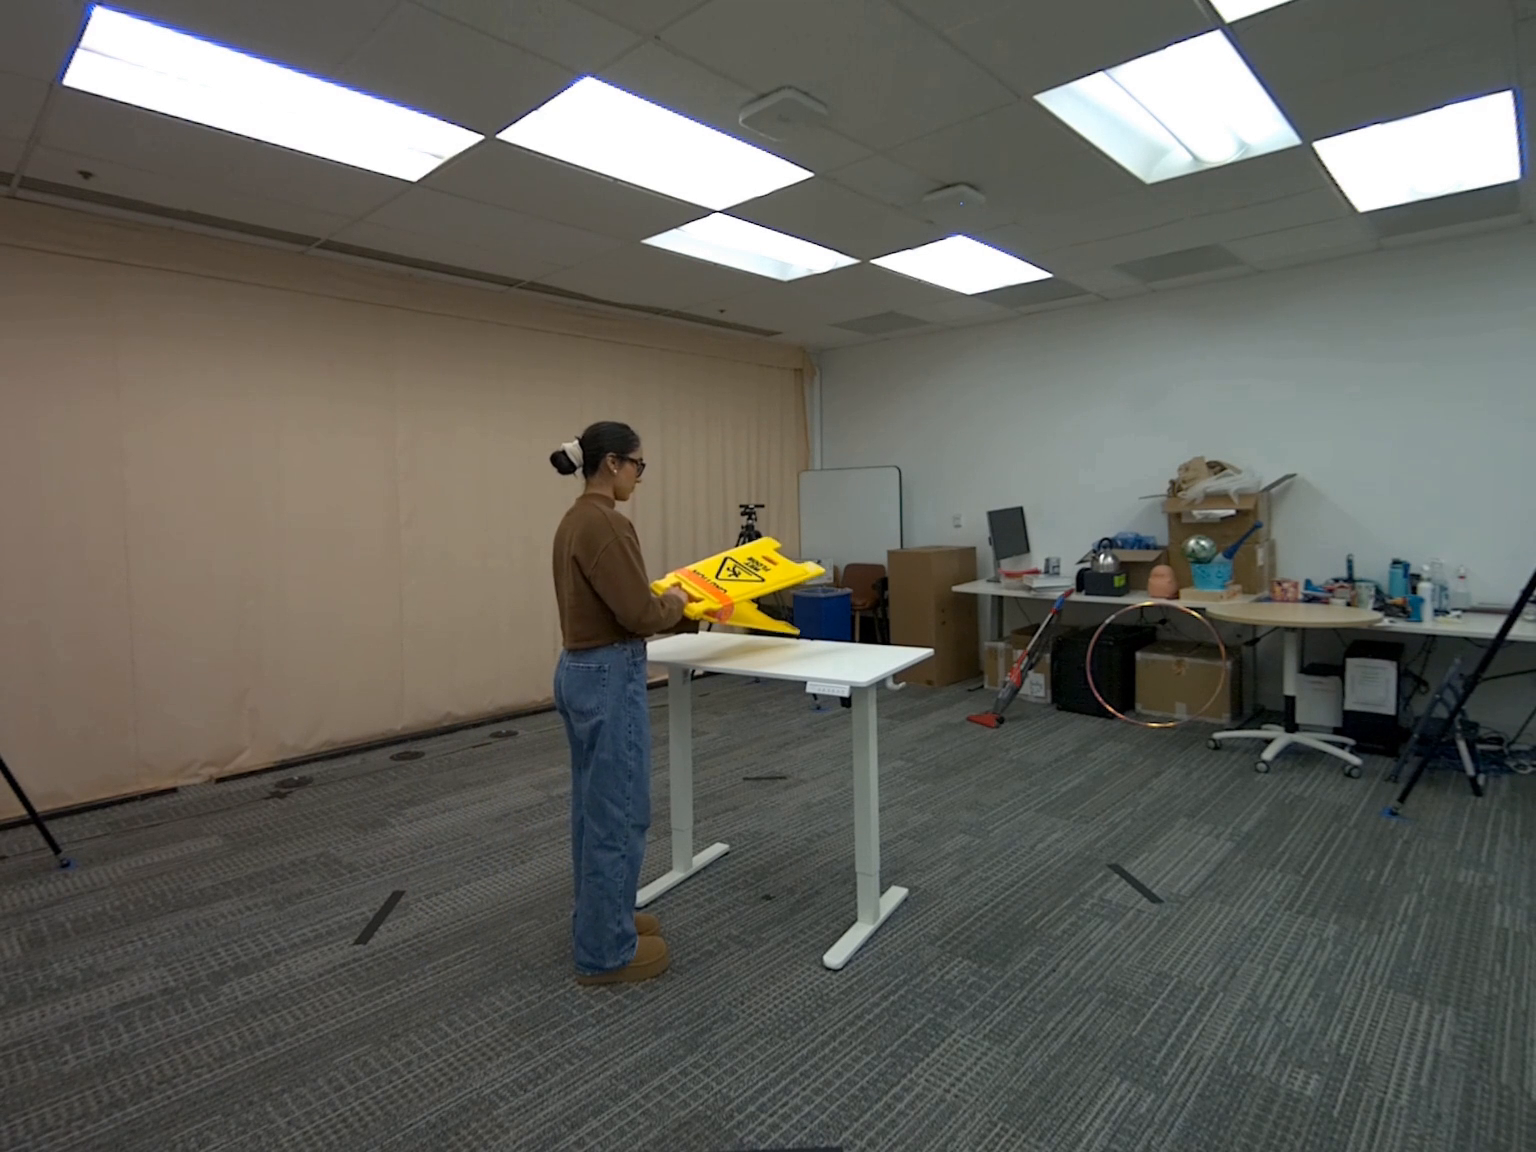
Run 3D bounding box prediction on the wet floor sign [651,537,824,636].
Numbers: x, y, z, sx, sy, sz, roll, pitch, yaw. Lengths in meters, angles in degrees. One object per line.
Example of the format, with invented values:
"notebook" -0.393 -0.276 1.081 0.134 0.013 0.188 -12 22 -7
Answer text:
"wet floor sign" -0.114 0.051 2.846 0.292 0.289 0.627 31 20 30
